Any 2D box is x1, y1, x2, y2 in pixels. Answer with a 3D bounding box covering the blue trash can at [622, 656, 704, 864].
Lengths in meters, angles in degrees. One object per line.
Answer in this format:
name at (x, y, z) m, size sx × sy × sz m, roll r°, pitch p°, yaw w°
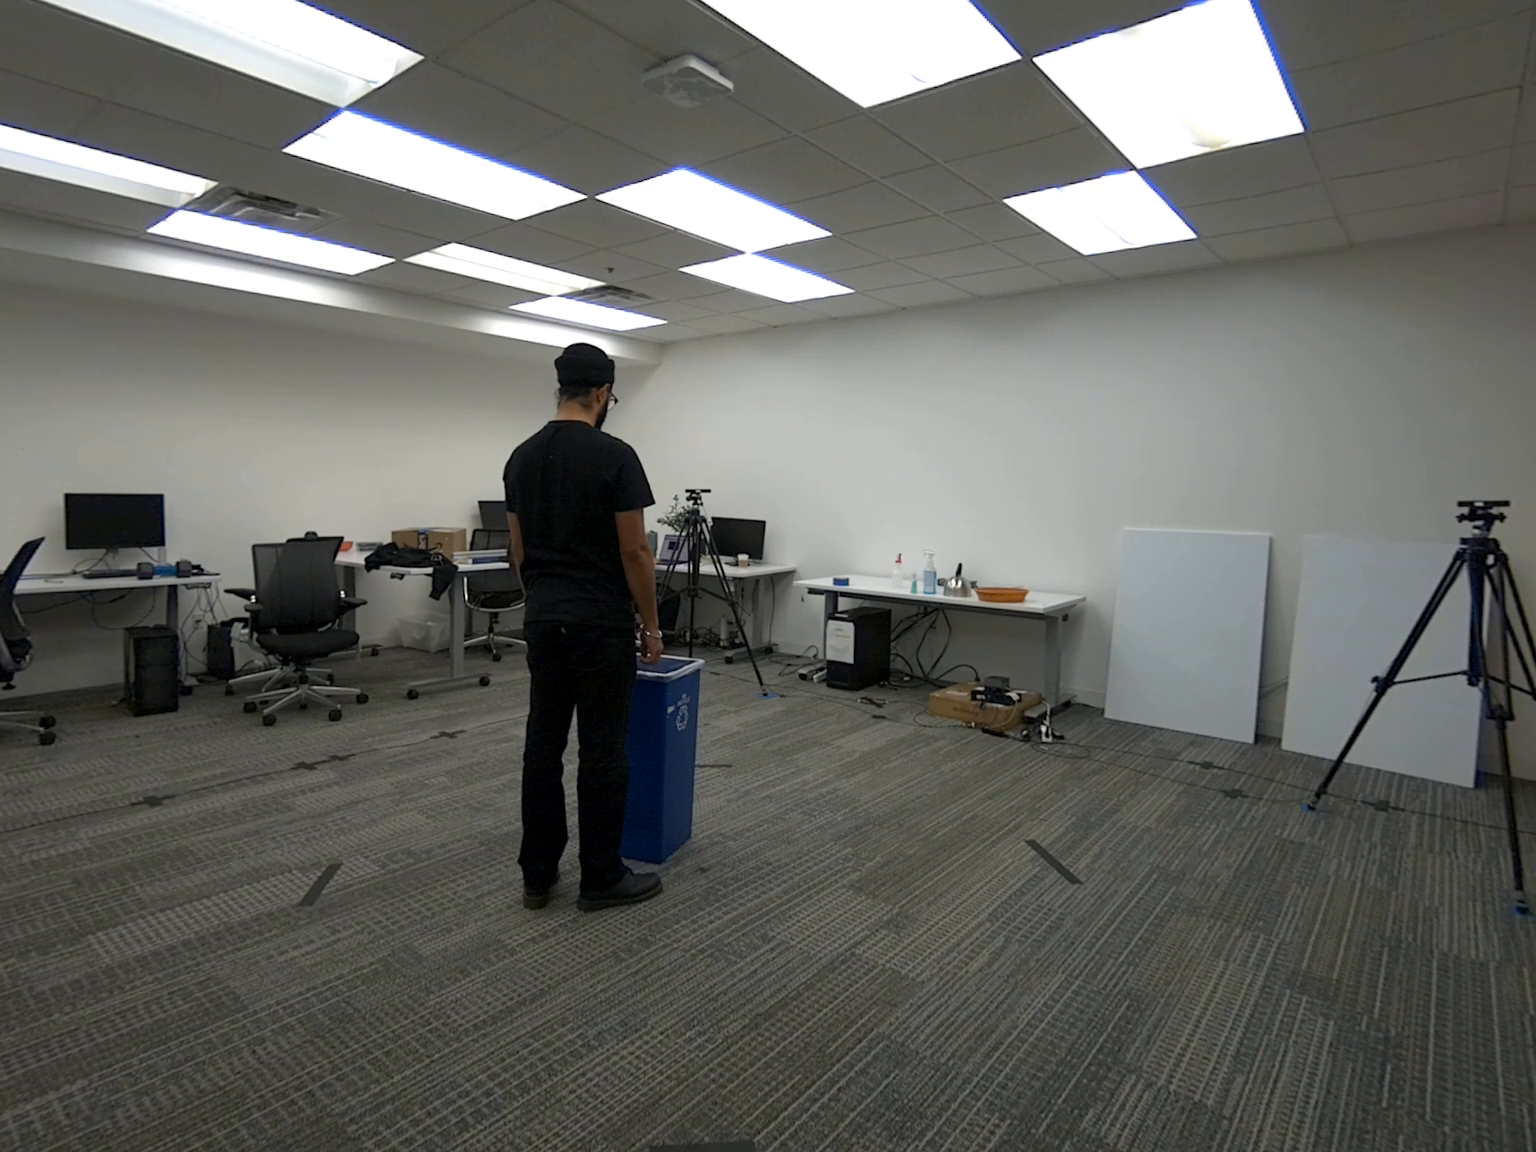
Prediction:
blue trash can at (-0.489, 0.692, 3.321) m, size 0.386 × 0.712 × 0.367 m, roll 2°, pitch 2°, yaw 20°
